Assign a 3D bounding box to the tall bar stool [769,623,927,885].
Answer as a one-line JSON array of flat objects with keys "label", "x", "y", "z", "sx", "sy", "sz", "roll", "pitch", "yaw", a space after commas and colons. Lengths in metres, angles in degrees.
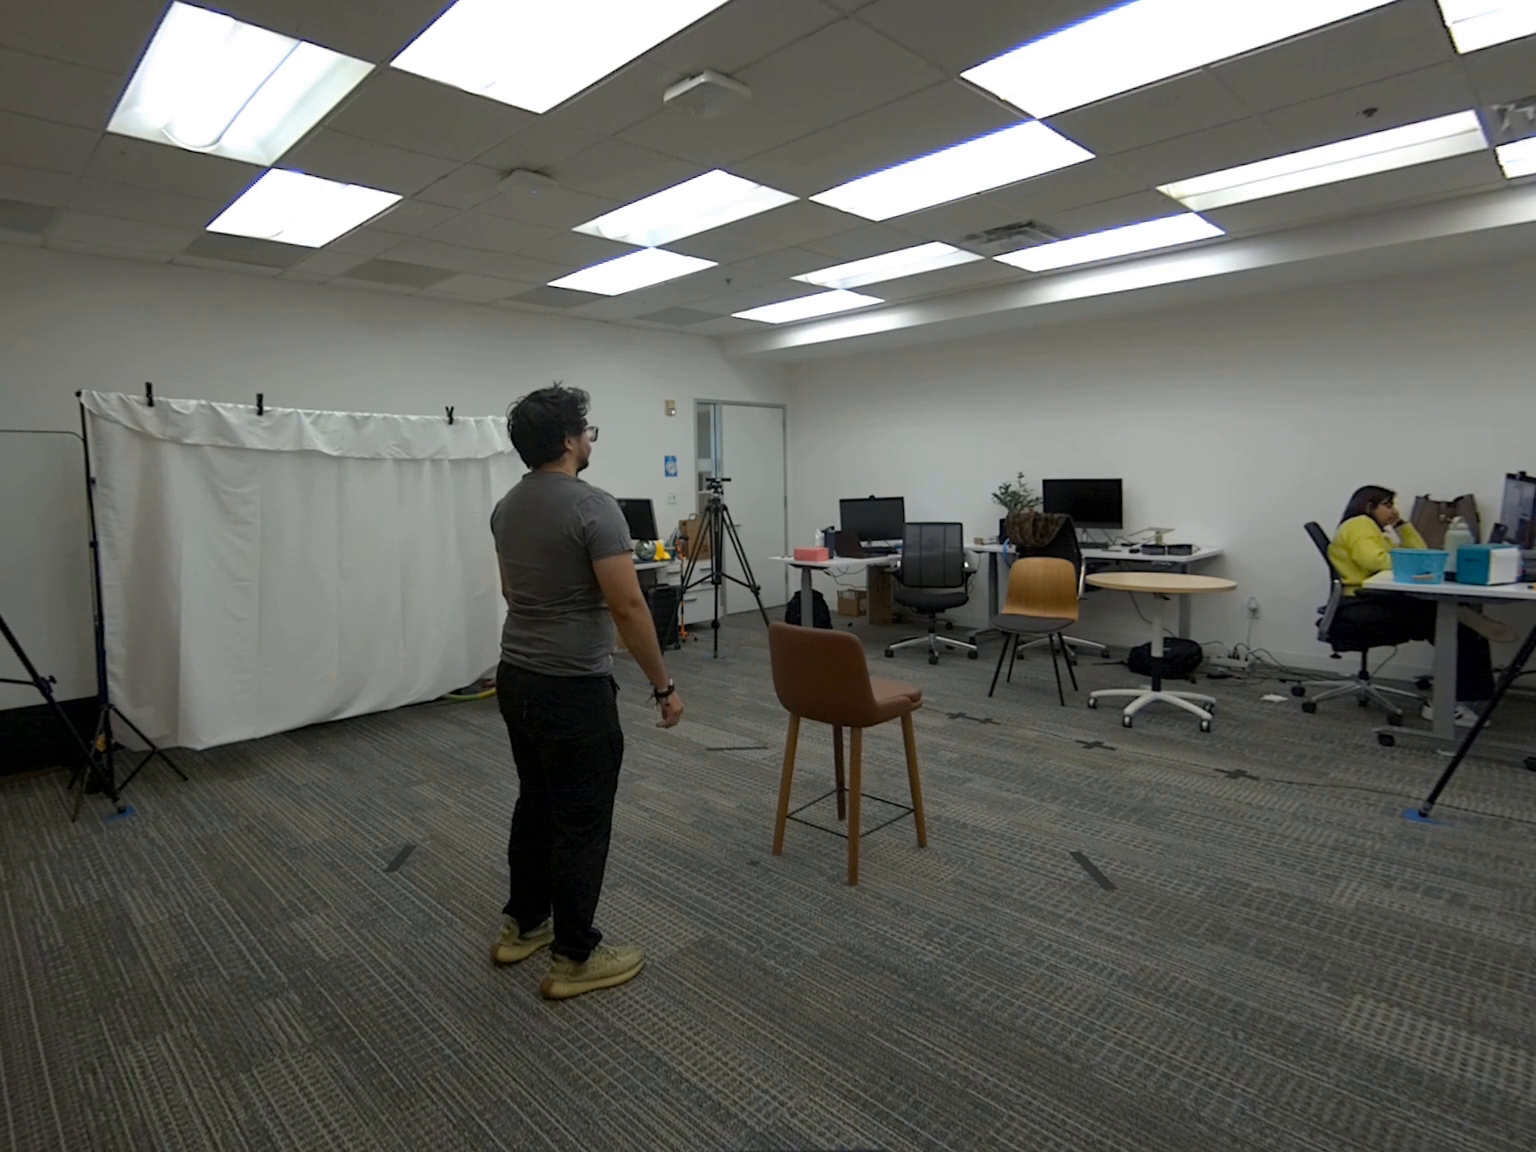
[{"label": "tall bar stool", "x": 0.293, "y": 0.594, "z": 3.176, "sx": 0.470, "sy": 0.885, "sz": 0.456, "roll": 3, "pitch": 8, "yaw": 44}]
